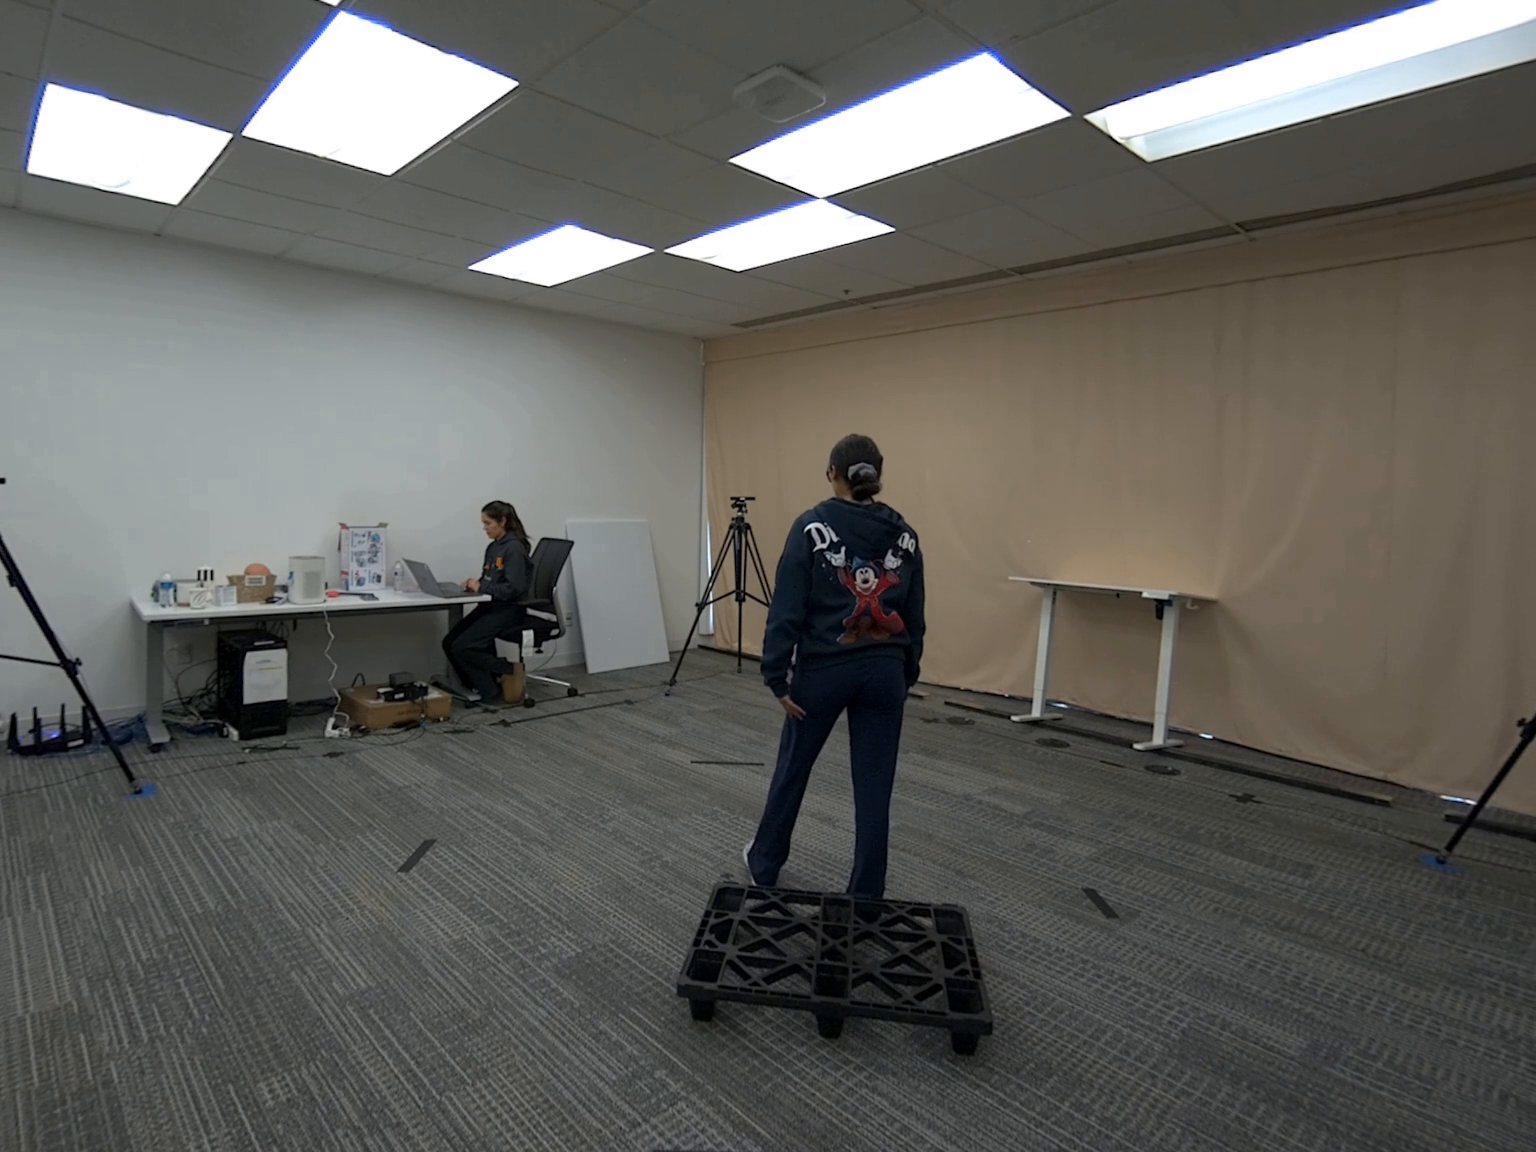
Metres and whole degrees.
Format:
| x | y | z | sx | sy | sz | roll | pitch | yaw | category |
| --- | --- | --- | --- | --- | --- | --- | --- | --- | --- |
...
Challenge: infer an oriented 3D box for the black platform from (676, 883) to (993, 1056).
| x | y | z | sx | sy | sz | roll | pitch | yaw | category |
| --- | --- | --- | --- | --- | --- | --- | --- | --- | --- |
| 0.189 | 1.113 | 2.407 | 0.811 | 0.143 | 0.603 | 2 | 6 | 7 | black platform |
